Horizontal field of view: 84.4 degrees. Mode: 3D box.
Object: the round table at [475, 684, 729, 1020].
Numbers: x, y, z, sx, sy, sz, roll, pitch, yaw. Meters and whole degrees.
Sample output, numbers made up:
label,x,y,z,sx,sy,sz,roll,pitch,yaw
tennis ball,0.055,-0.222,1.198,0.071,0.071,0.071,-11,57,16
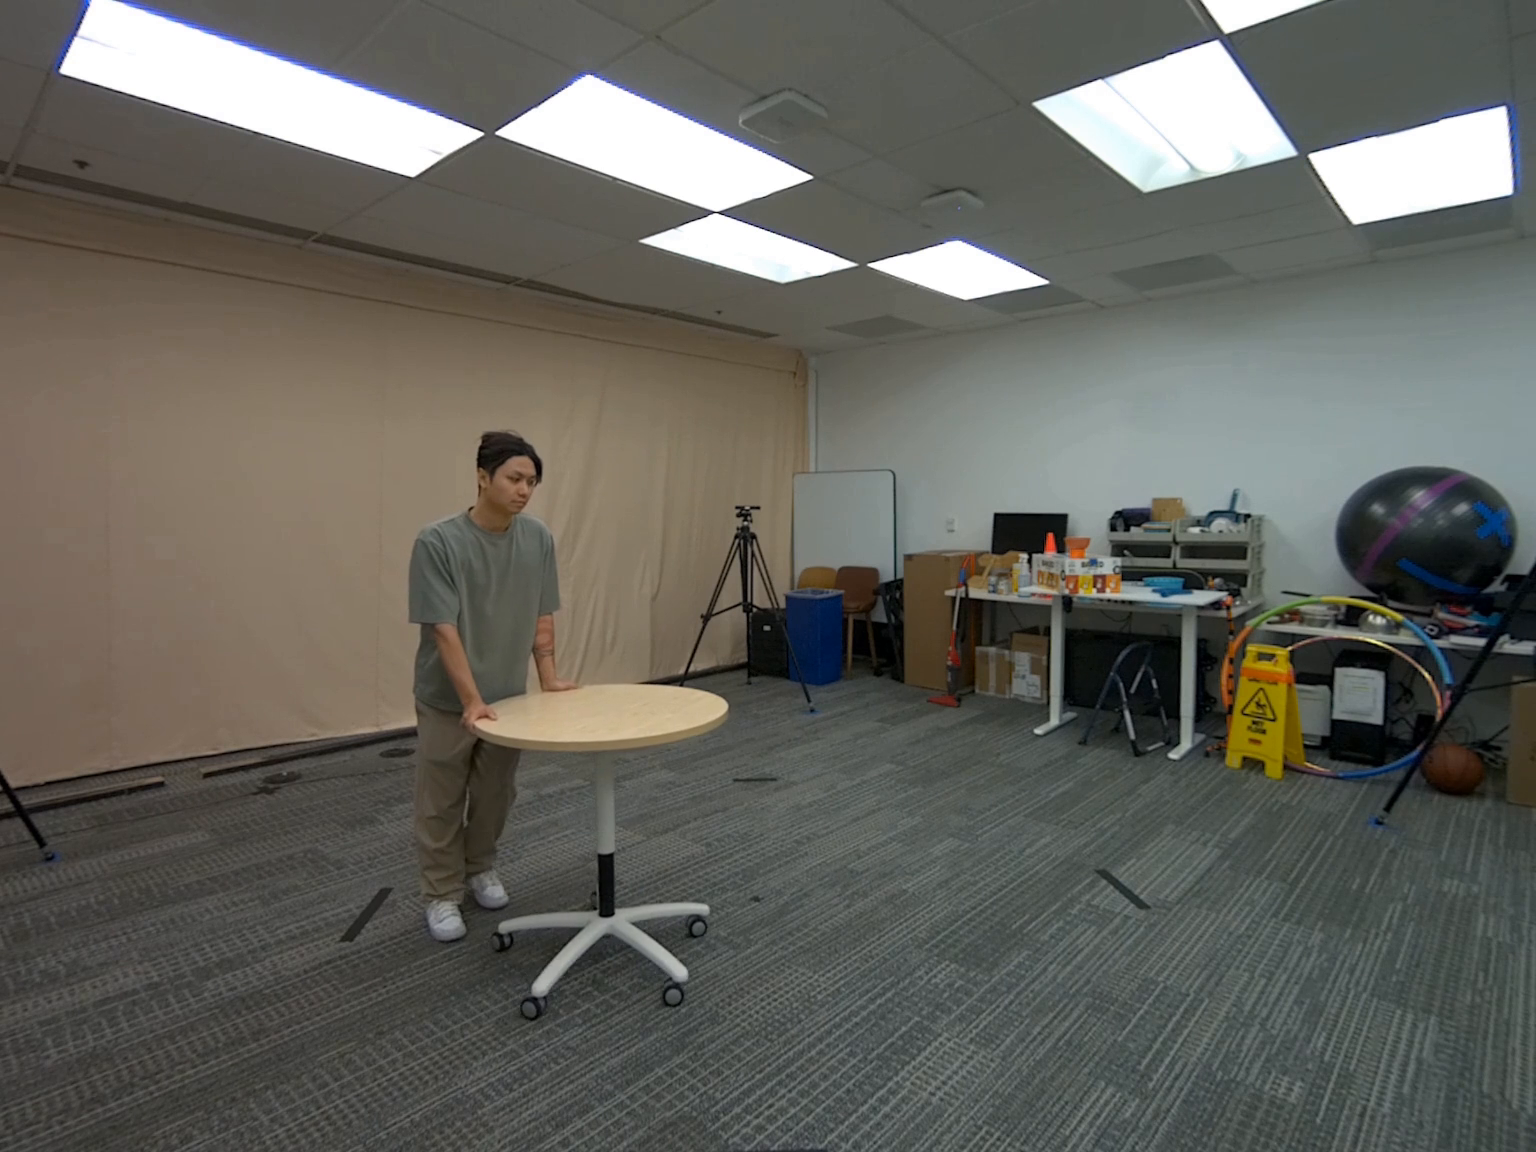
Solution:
label,x,y,z,sx,sy,sz,roll,pitch,yaw
round table,-0.487,0.793,2.562,0.784,0.785,0.787,-1,3,-2
